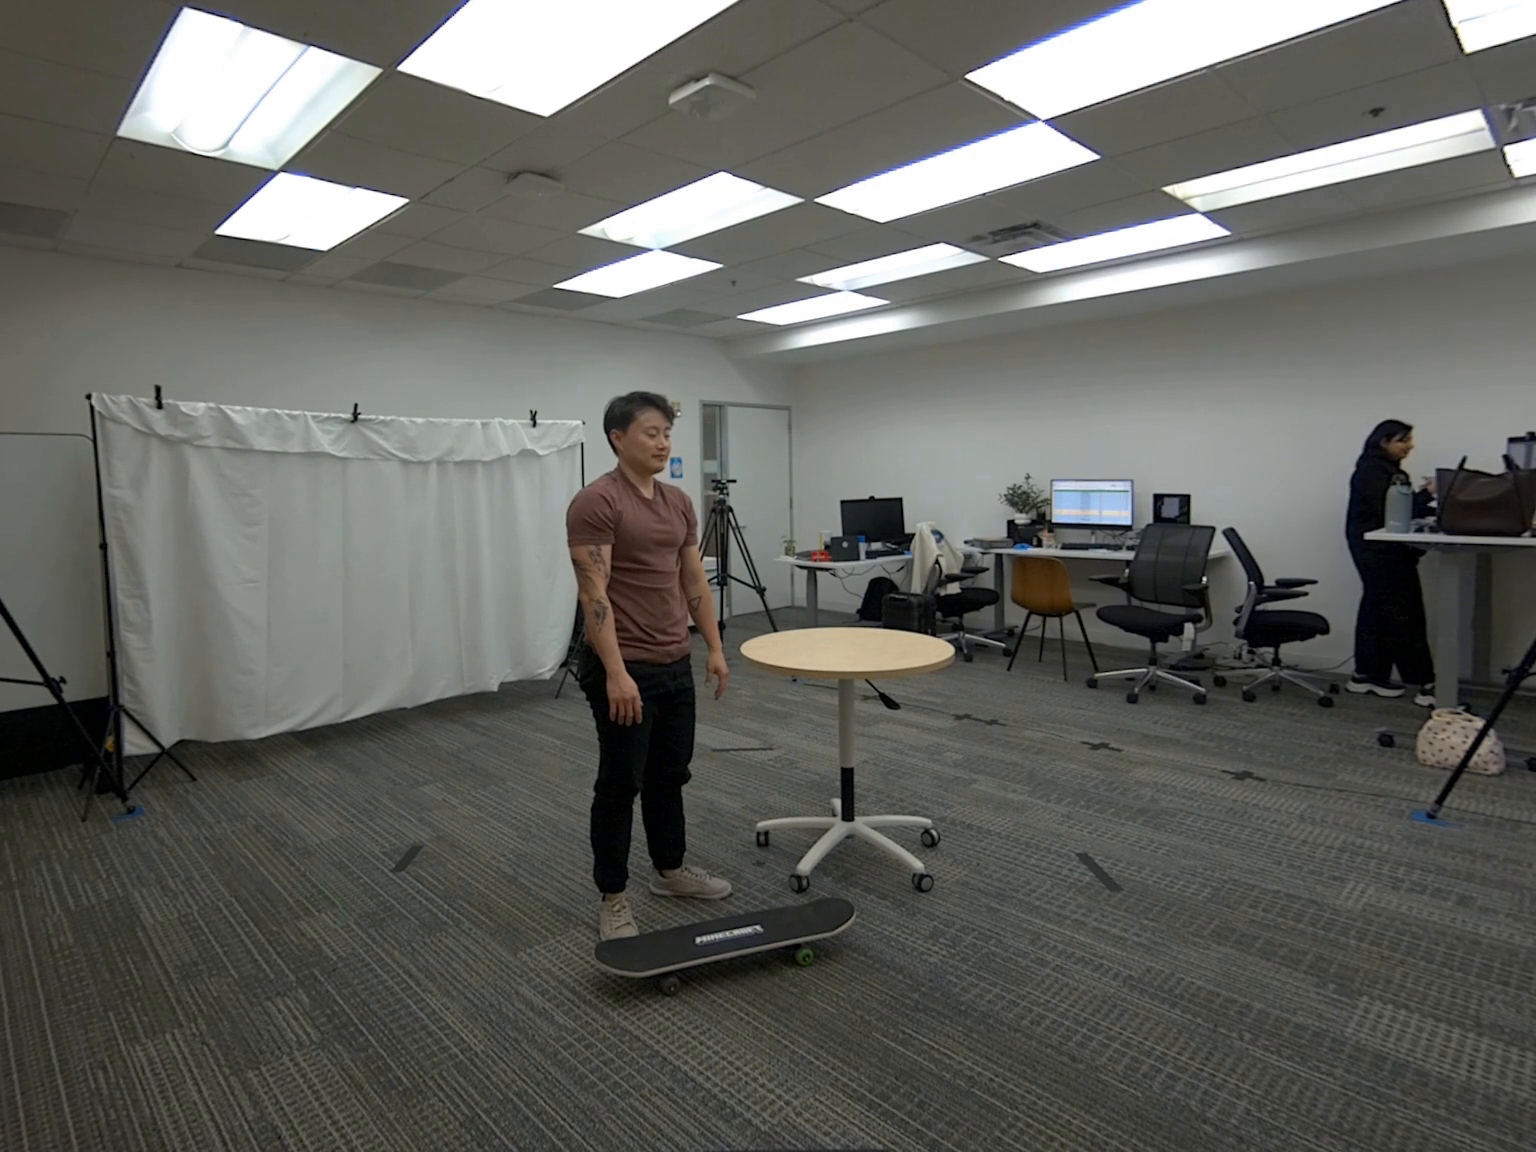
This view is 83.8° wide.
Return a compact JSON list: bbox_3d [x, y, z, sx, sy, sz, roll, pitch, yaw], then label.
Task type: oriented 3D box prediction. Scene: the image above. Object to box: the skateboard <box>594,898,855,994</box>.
[{"bbox_3d":[-0.108,1.064,2.468,0.773,0.110,0.197,-4,6,-18],"label":"skateboard"}]
